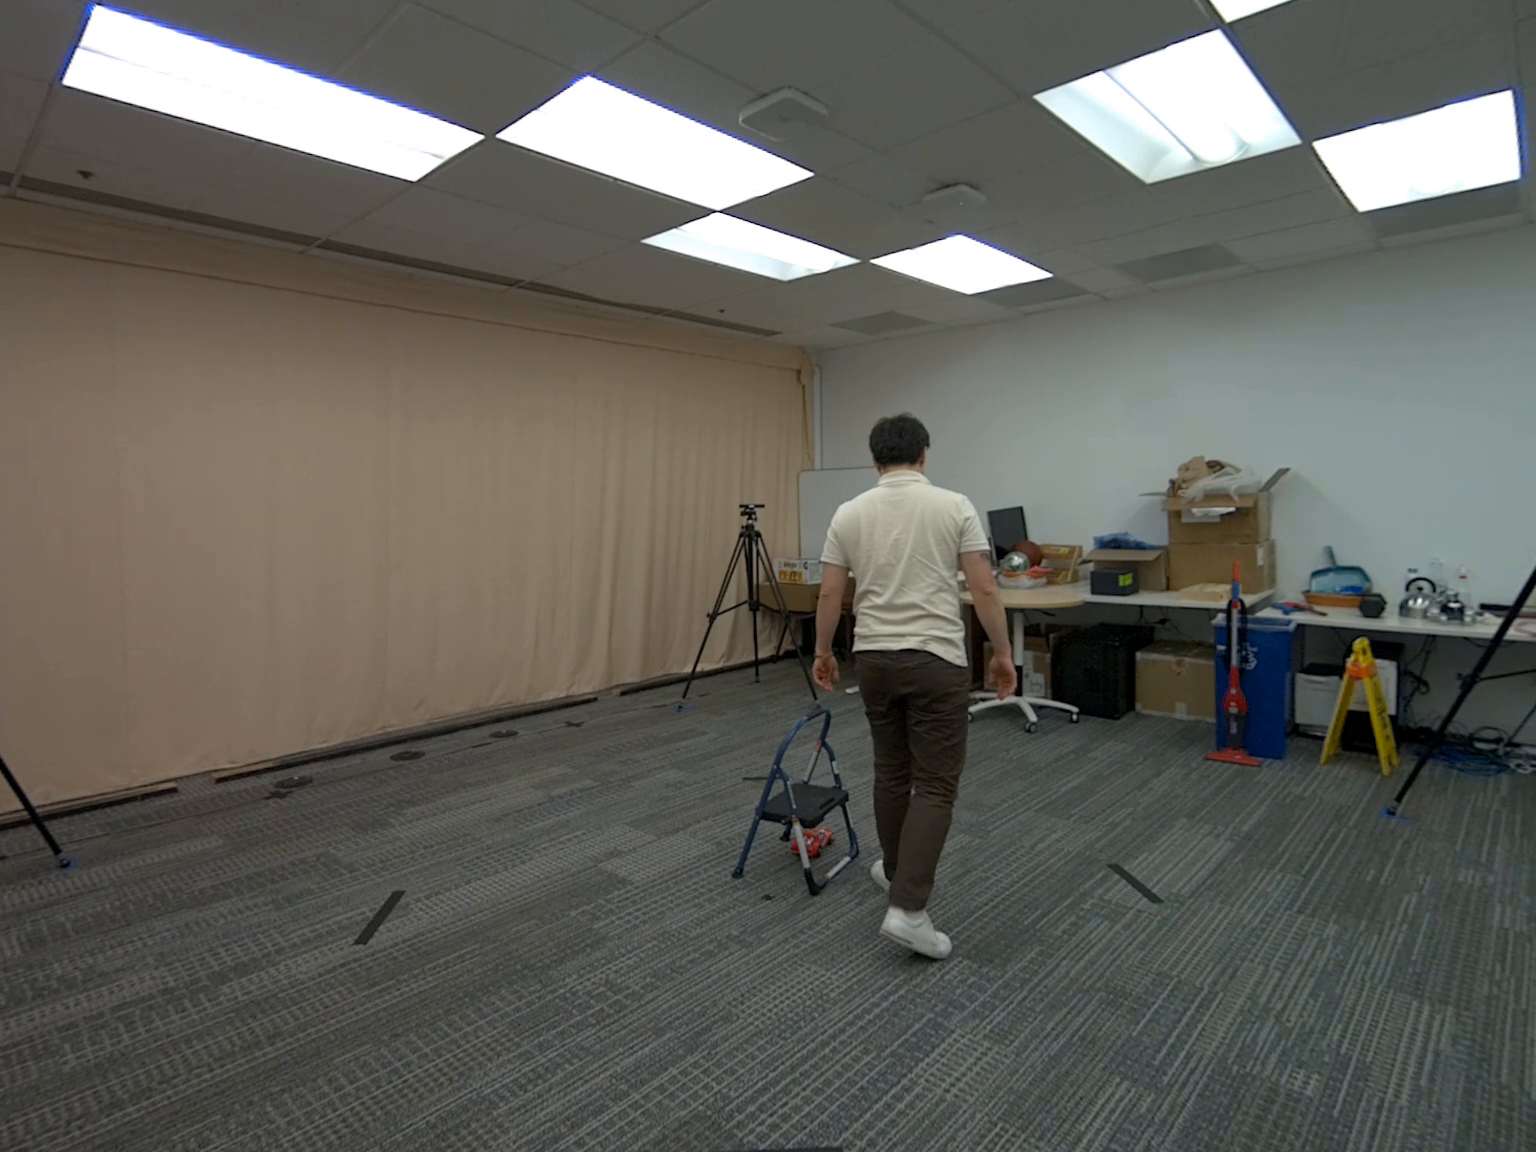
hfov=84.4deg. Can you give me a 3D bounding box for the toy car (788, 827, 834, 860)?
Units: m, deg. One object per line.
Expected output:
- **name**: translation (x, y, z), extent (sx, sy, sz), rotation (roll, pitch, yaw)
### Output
- **toy car**: translation (0.179, 1.069, 3.380), extent (0.134, 0.083, 0.247), rotation (1, -6, 27)
